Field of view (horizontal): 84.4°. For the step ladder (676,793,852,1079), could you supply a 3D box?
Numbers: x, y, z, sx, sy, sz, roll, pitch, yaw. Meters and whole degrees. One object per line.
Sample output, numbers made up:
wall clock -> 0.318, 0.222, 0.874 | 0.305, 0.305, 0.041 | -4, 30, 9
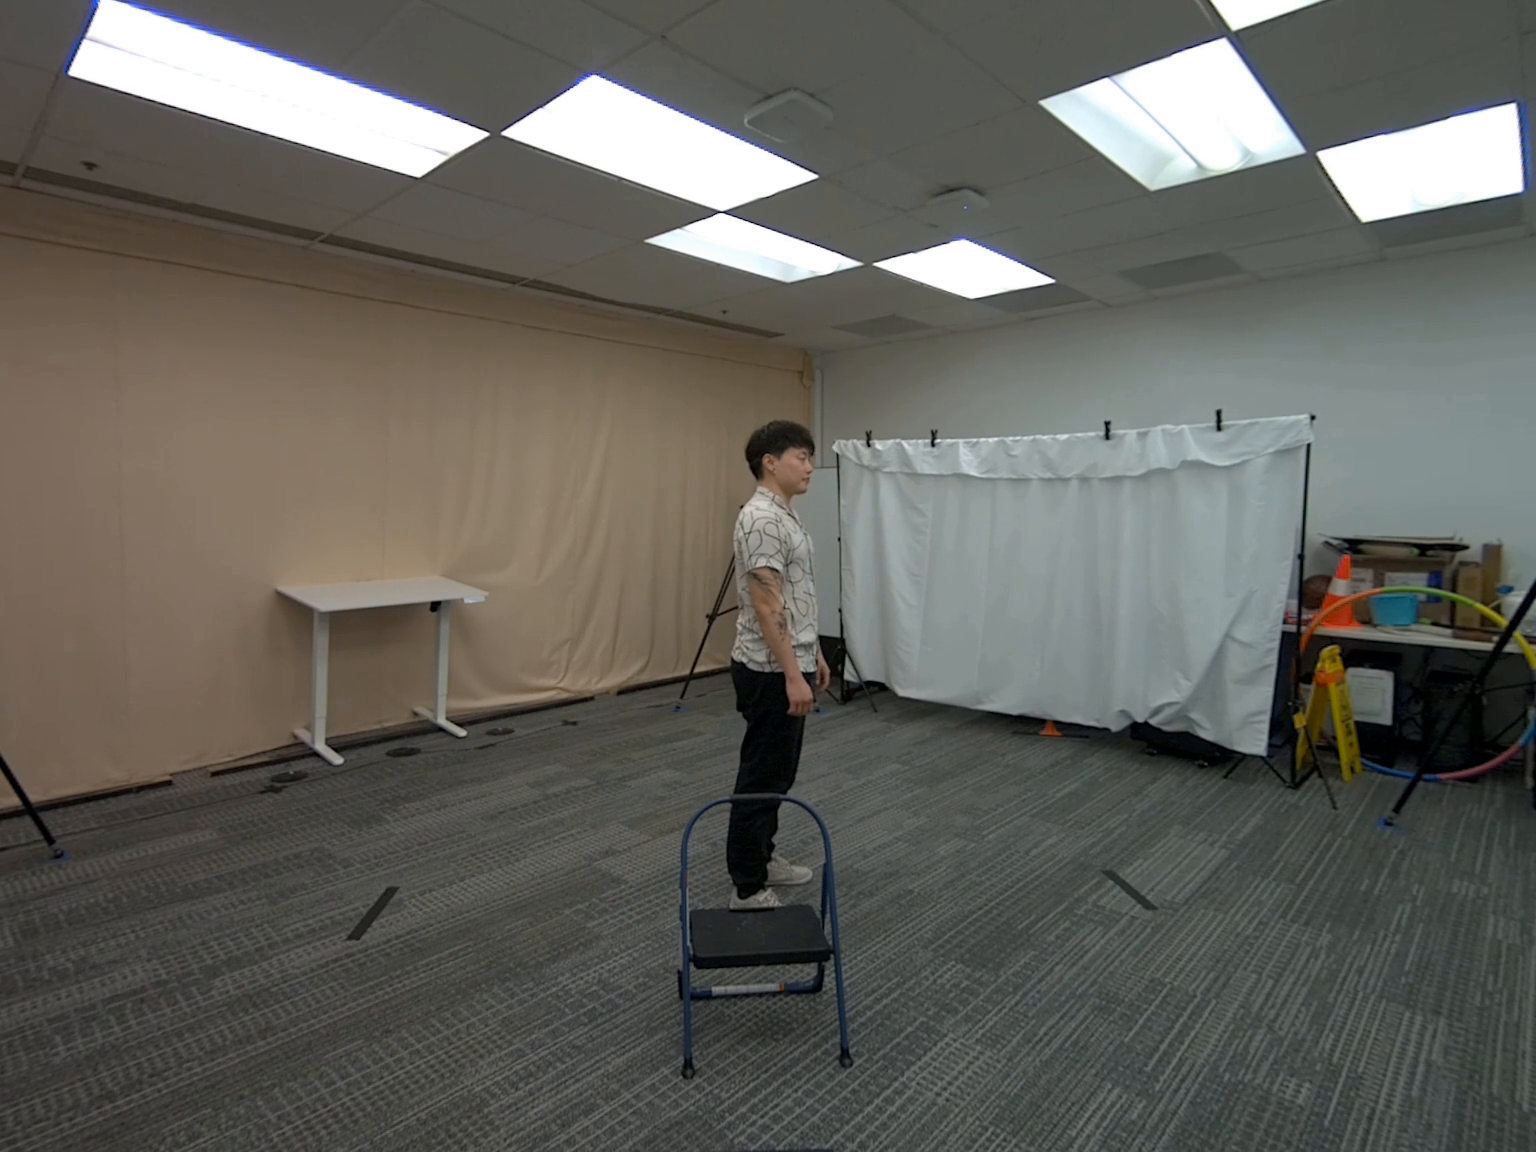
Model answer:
step ladder -> -0.022, 0.907, 2.225 | 0.428, 0.605, 0.352 | 0, 3, -7
